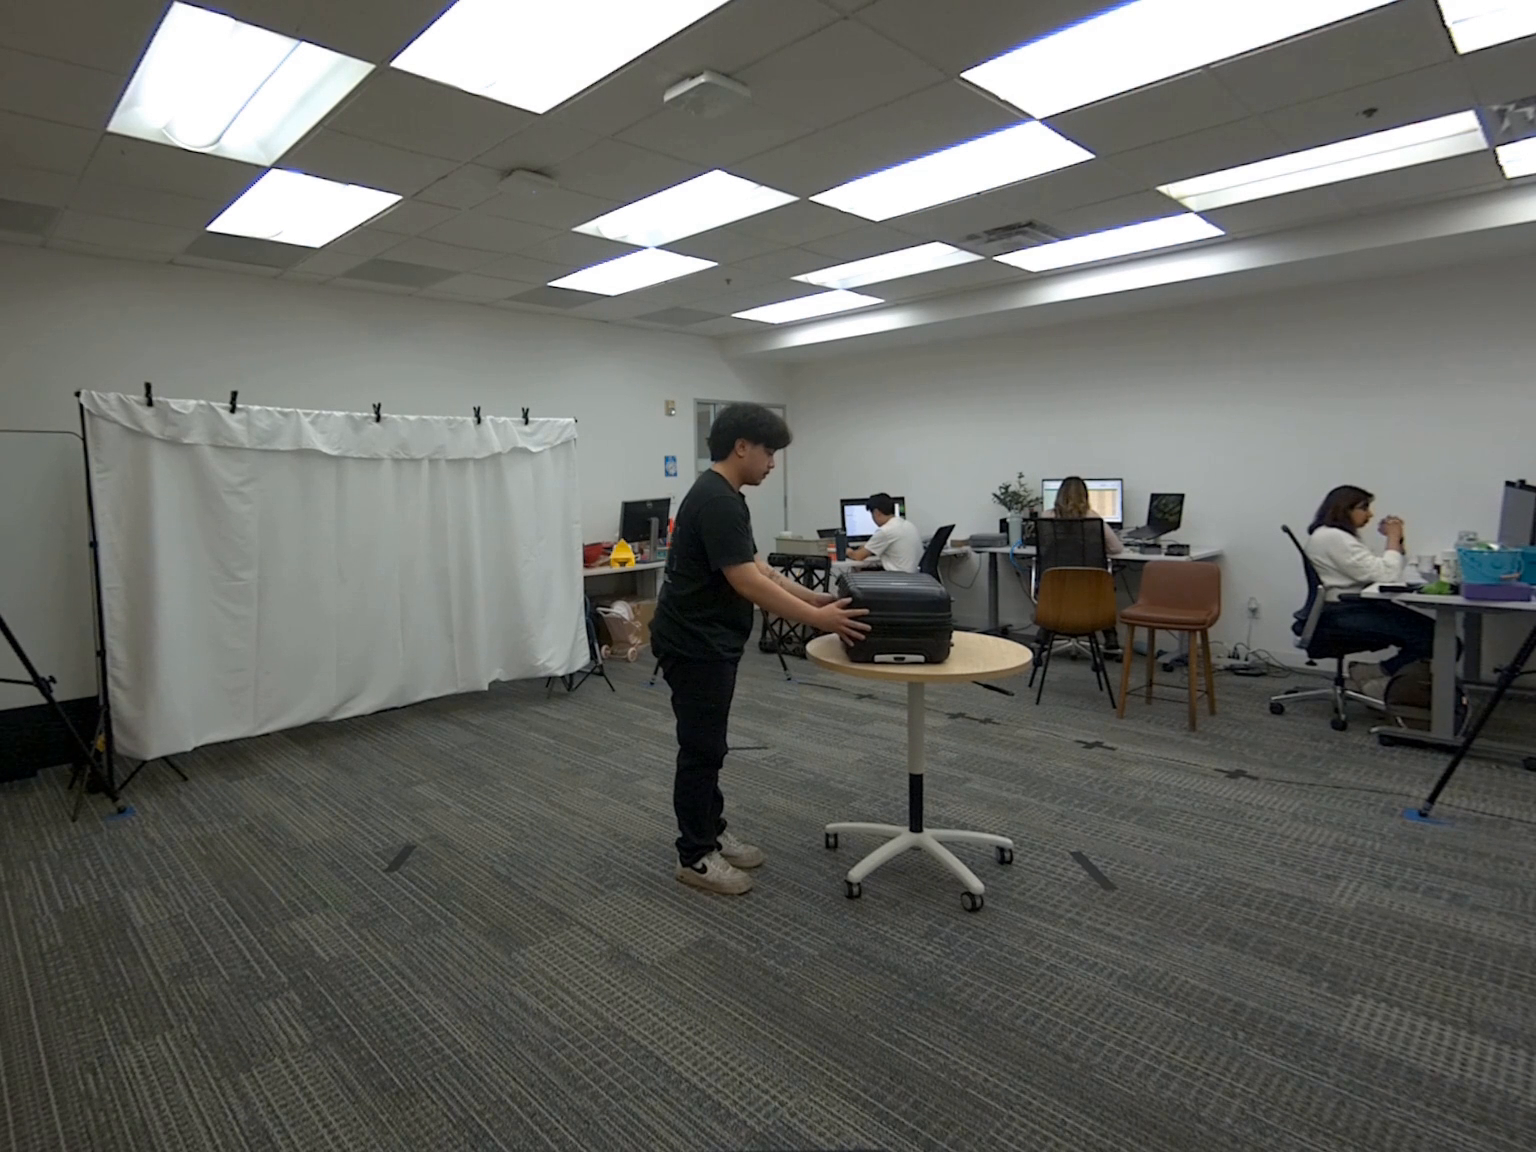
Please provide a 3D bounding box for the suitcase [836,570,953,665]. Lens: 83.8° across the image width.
[{"bbox_3d":[0.422,0.136,2.971,0.377,0.247,0.550,1,8,3],"label":"suitcase"}]
